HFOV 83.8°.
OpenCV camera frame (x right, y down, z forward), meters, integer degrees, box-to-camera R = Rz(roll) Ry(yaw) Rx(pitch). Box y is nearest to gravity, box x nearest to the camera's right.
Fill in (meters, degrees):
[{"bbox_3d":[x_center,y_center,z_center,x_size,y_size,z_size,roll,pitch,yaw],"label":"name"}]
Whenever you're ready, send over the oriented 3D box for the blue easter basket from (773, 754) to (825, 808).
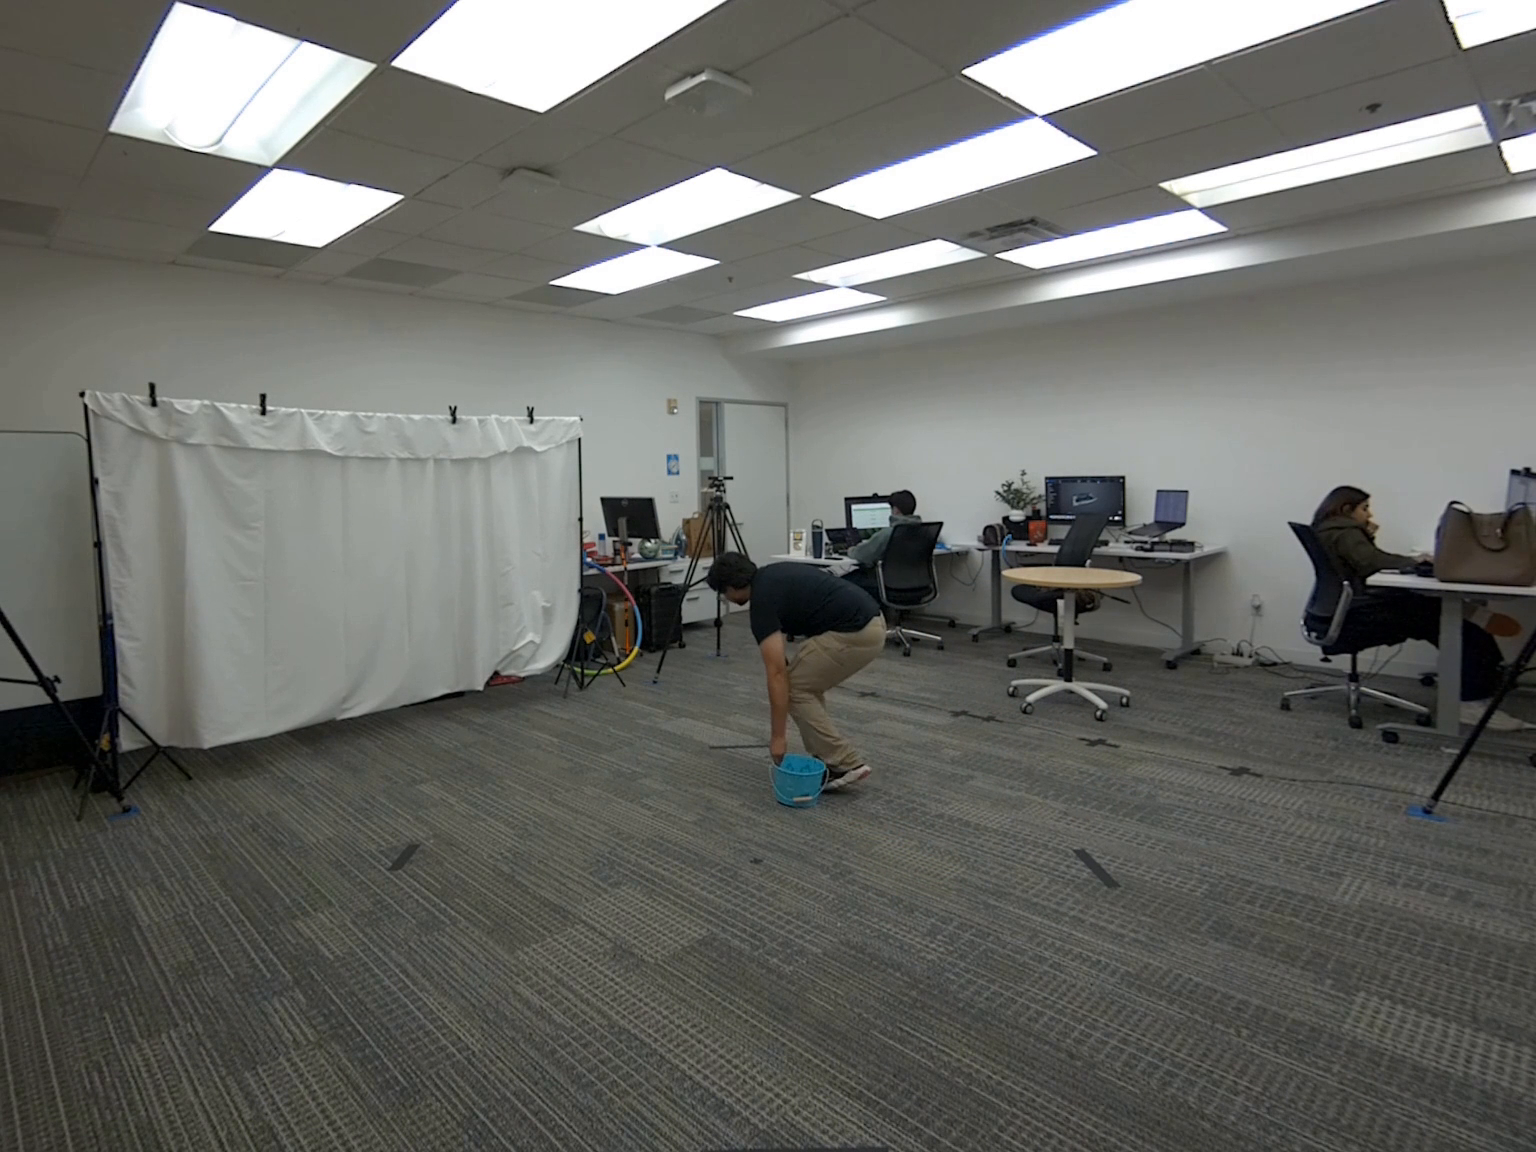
[{"bbox_3d":[0.130,0.885,3.678,0.243,0.155,0.245,3,6,-2],"label":"blue easter basket"}]
